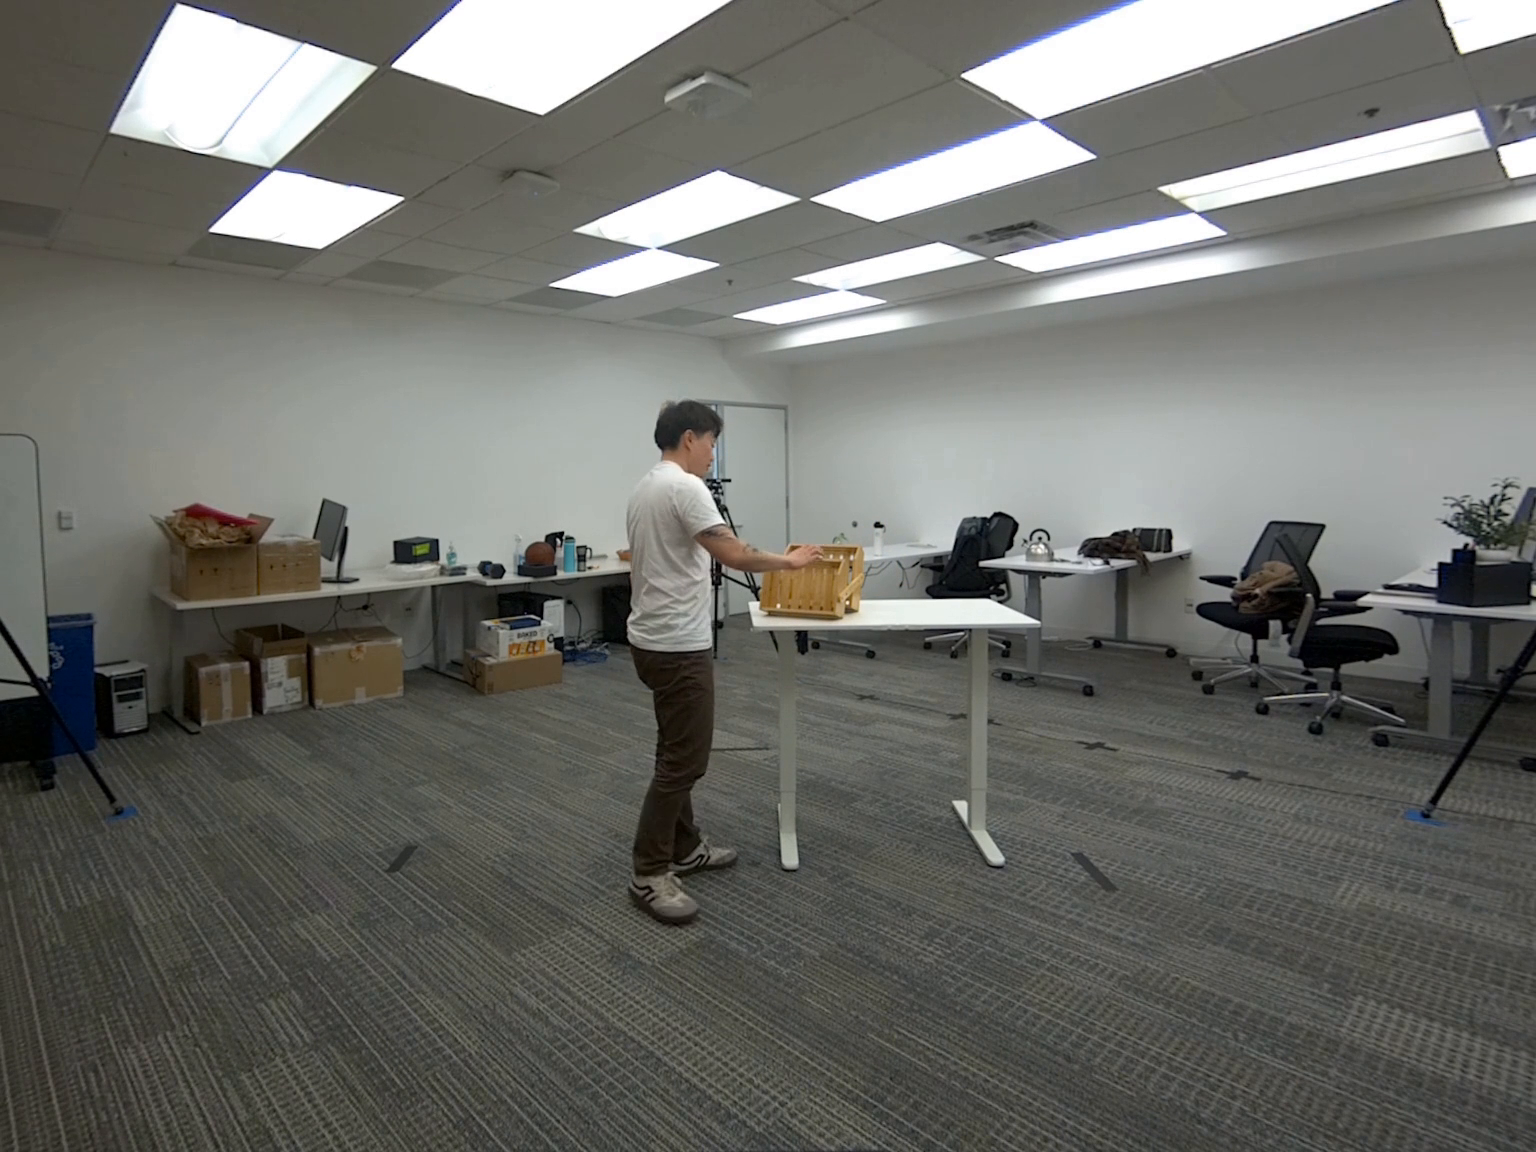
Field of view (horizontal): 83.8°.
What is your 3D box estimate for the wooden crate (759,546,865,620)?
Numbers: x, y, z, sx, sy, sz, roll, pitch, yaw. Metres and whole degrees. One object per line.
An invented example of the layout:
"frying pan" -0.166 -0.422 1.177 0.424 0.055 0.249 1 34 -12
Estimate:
"wooden crate" 0.177 0.008 3.252 0.332 0.305 0.264 1 -12 25
